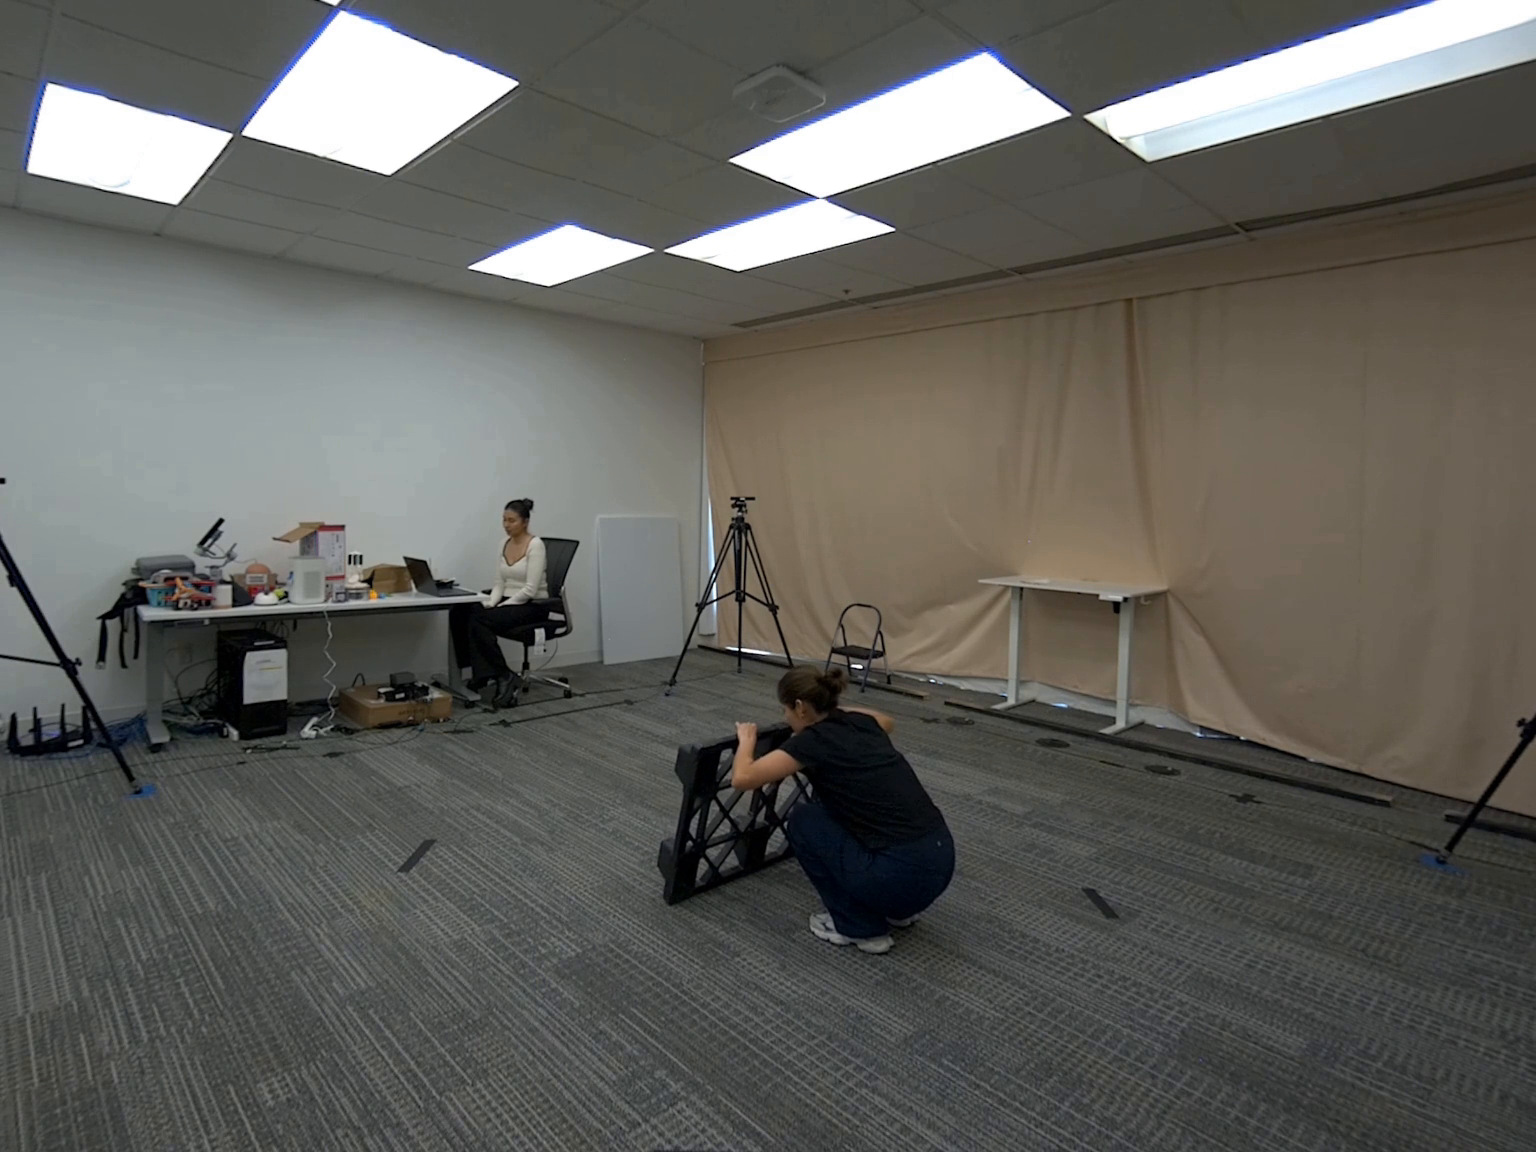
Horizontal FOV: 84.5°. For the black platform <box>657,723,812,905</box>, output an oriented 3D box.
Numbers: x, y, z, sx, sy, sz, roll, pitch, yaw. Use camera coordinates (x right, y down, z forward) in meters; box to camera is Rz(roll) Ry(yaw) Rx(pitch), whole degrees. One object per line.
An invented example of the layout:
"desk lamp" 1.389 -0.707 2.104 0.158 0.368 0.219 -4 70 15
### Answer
"black platform" -0.053 0.799 3.092 0.787 0.600 0.148 -3 19 -44
